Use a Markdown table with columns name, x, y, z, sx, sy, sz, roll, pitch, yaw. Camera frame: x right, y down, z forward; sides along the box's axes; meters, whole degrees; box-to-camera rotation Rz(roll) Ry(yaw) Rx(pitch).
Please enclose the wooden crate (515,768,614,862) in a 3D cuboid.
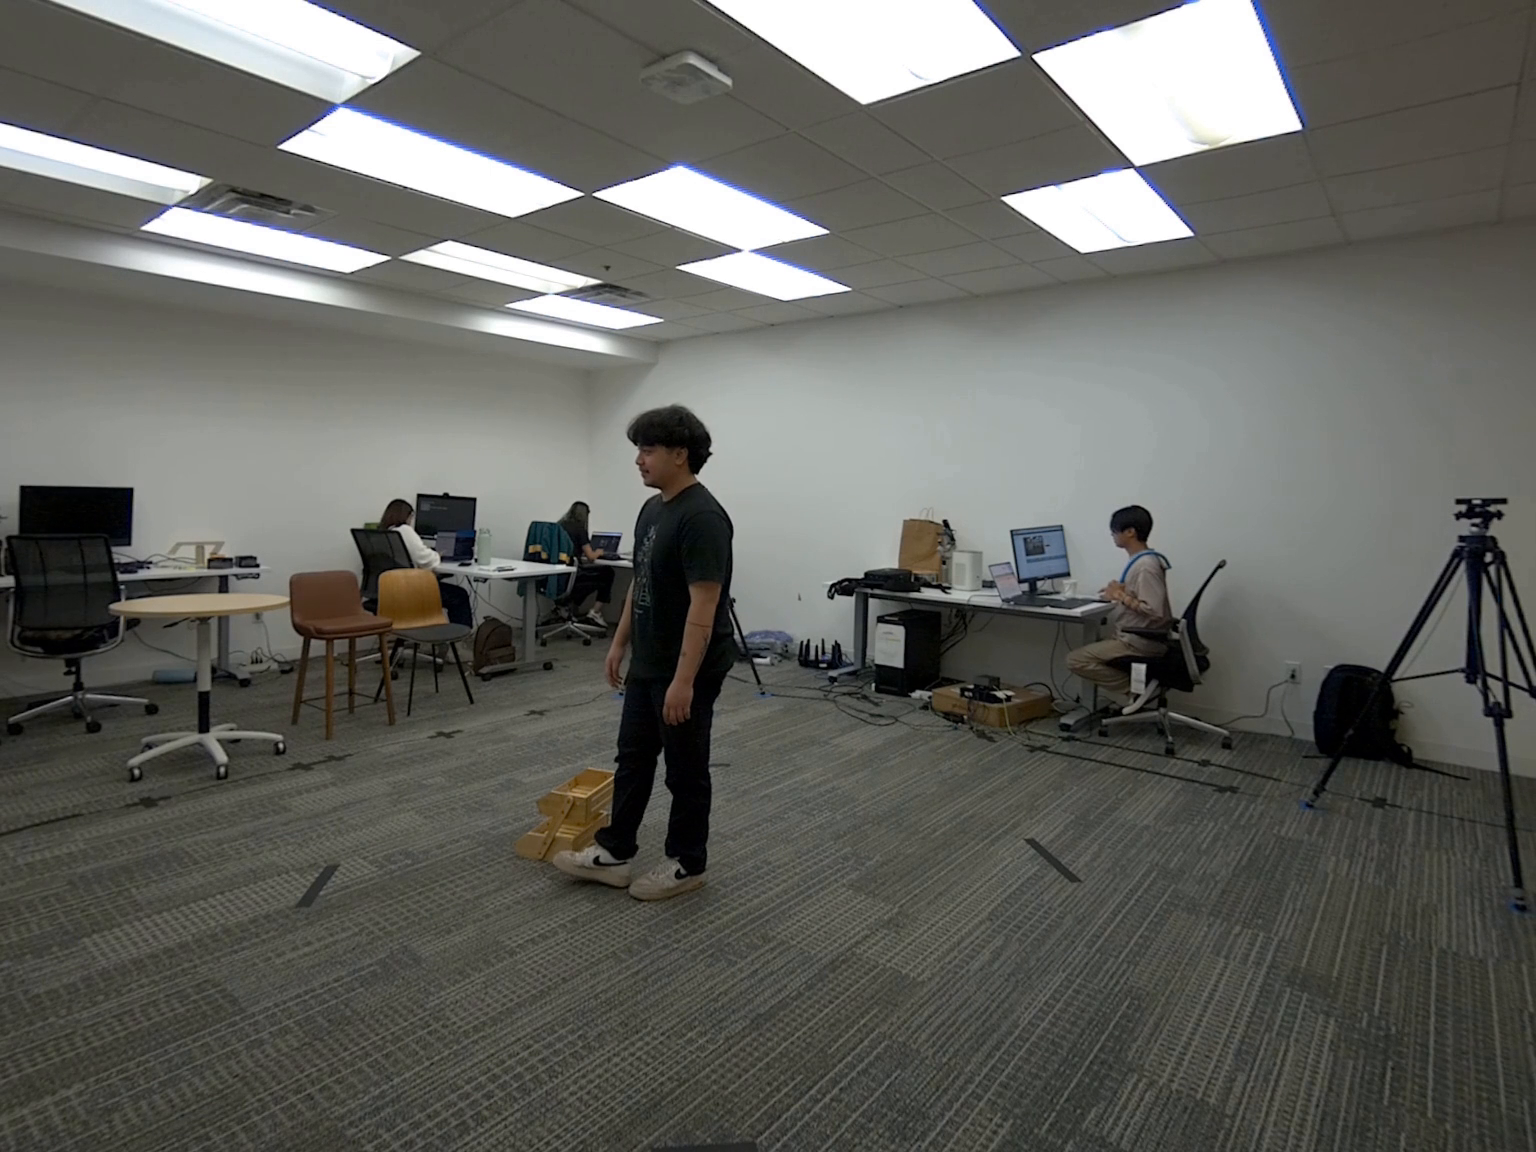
| name | x | y | z | sx | sy | sz | roll | pitch | yaw |
| --- | --- | --- | --- | --- | --- | --- | --- | --- | --- |
| wooden crate | -0.788 | 0.911 | 3.289 | 0.308 | 0.272 | 0.319 | 3 | 5 | 17 |
